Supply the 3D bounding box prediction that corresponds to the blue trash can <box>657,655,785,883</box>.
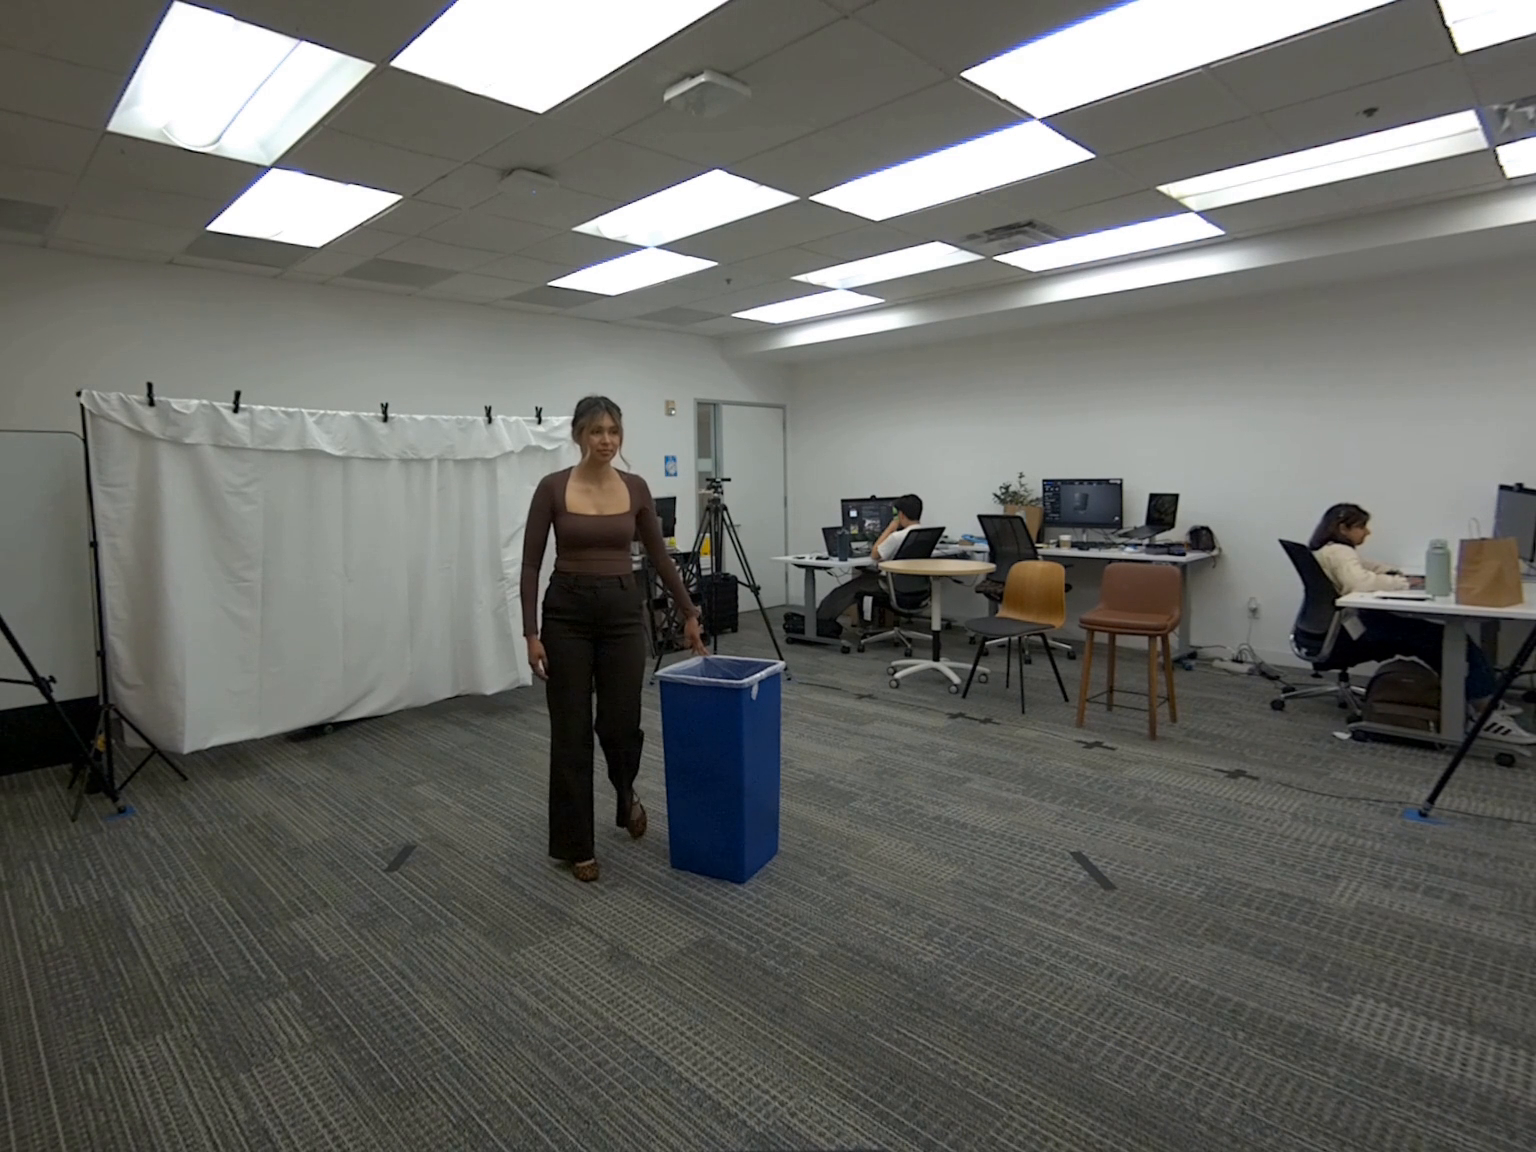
[{"bbox_3d":[-0.165,0.682,3.119,0.383,0.711,0.370,2,4,27],"label":"blue trash can"}]
